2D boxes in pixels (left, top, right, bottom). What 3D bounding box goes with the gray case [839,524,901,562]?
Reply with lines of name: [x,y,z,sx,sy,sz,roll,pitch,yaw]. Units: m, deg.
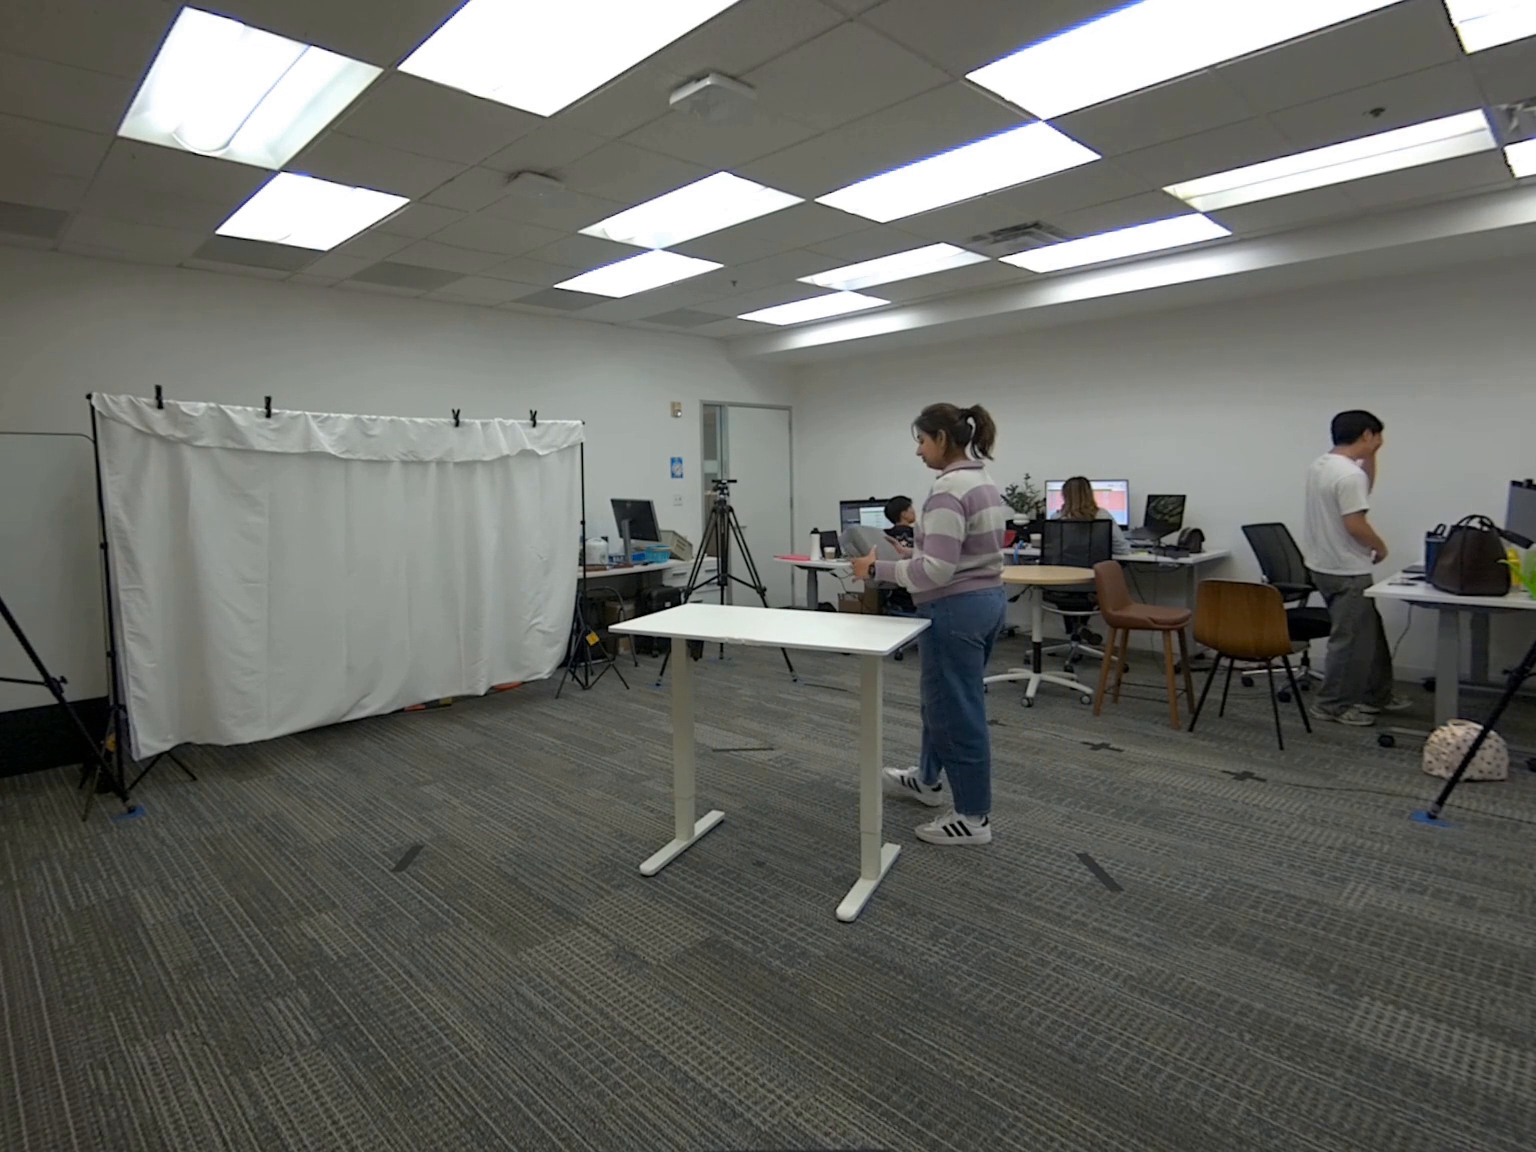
gray case: [0.418,-0.078,3.384,0.104,0.264,0.253,-42,-25,25]
